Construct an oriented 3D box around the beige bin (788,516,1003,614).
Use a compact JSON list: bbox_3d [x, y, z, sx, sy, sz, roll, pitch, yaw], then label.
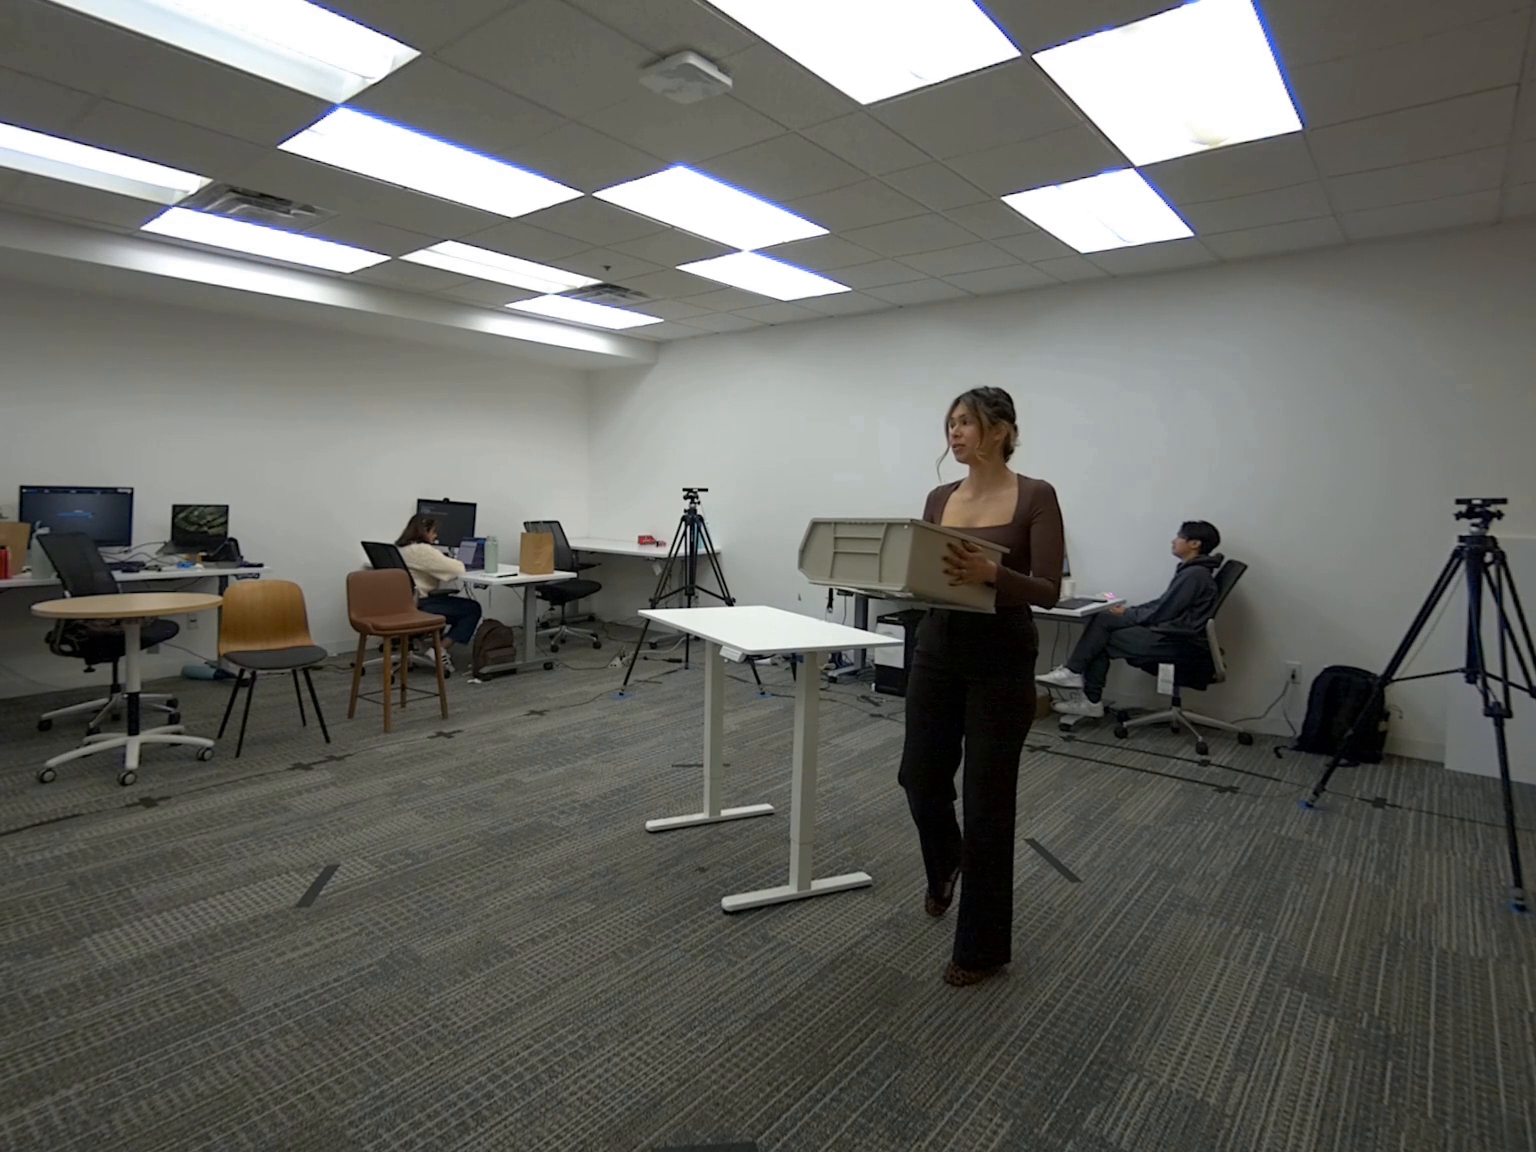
[{"bbox_3d":[0.349,-0.027,2.318,0.407,0.189,0.390,12,-4,-41],"label":"beige bin"}]
